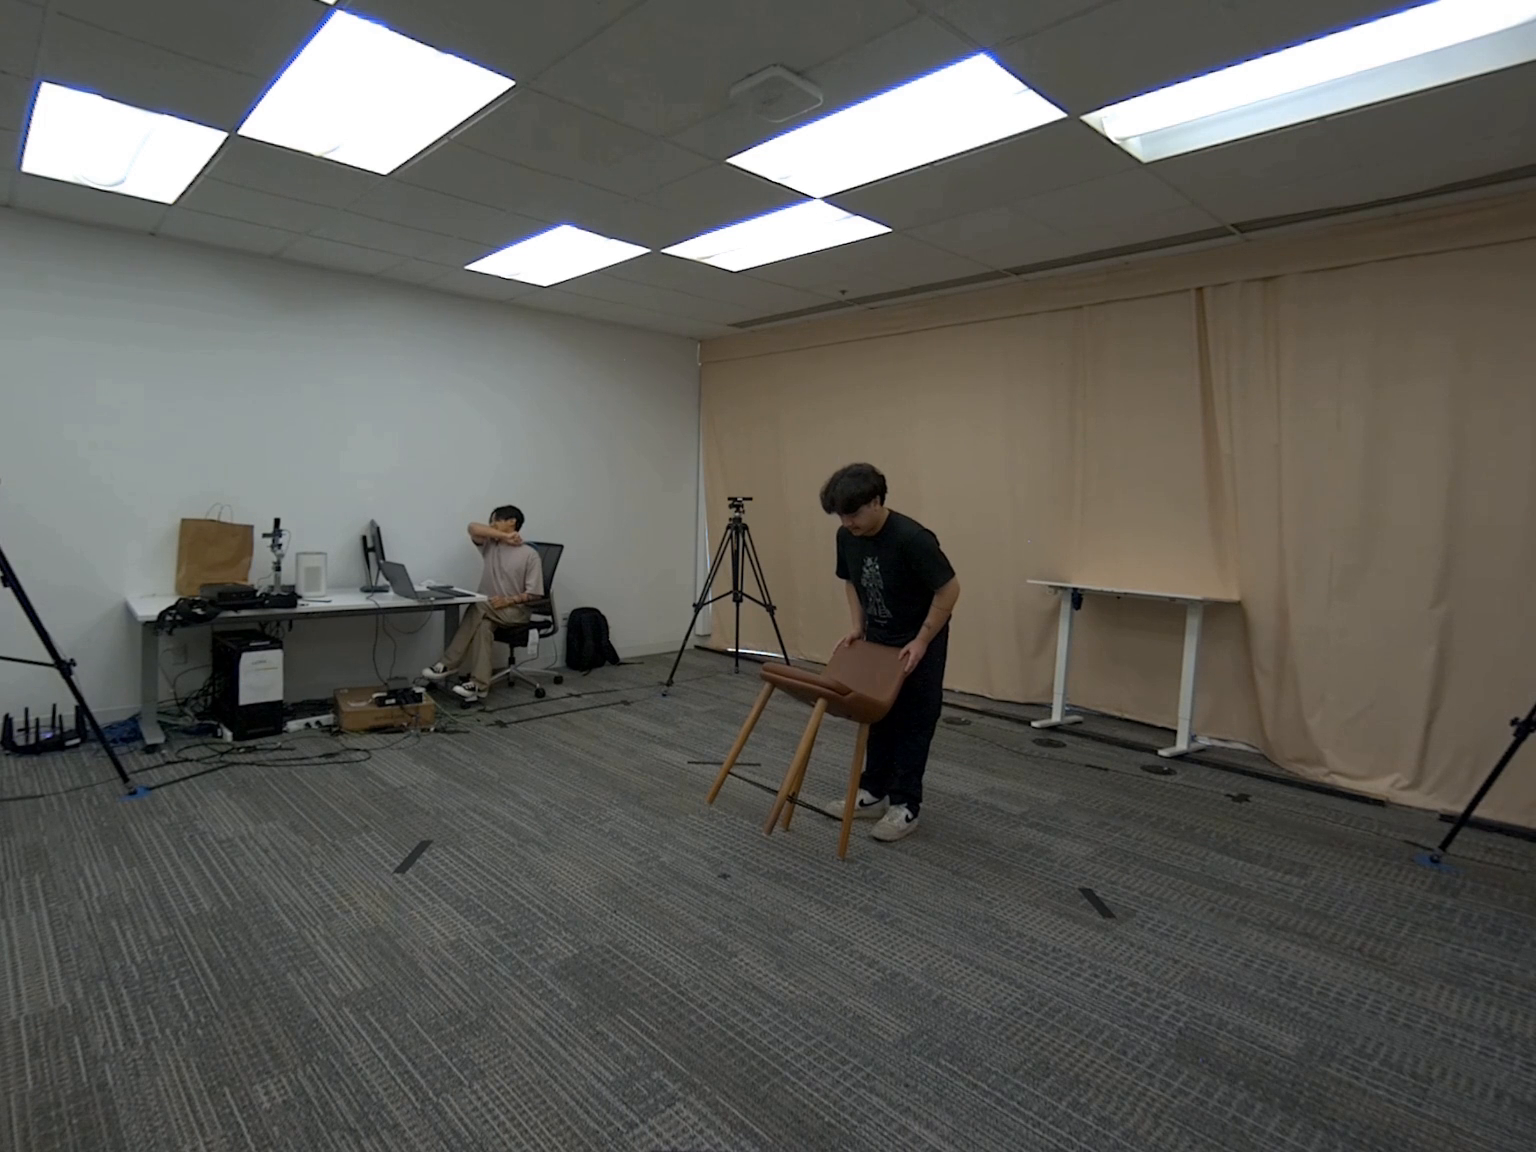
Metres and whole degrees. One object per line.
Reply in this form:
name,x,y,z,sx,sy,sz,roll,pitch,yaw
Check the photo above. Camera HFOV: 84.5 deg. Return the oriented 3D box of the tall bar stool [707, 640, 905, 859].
tall bar stool,0.180,0.607,3.394,0.454,0.894,0.468,32,-15,-34
